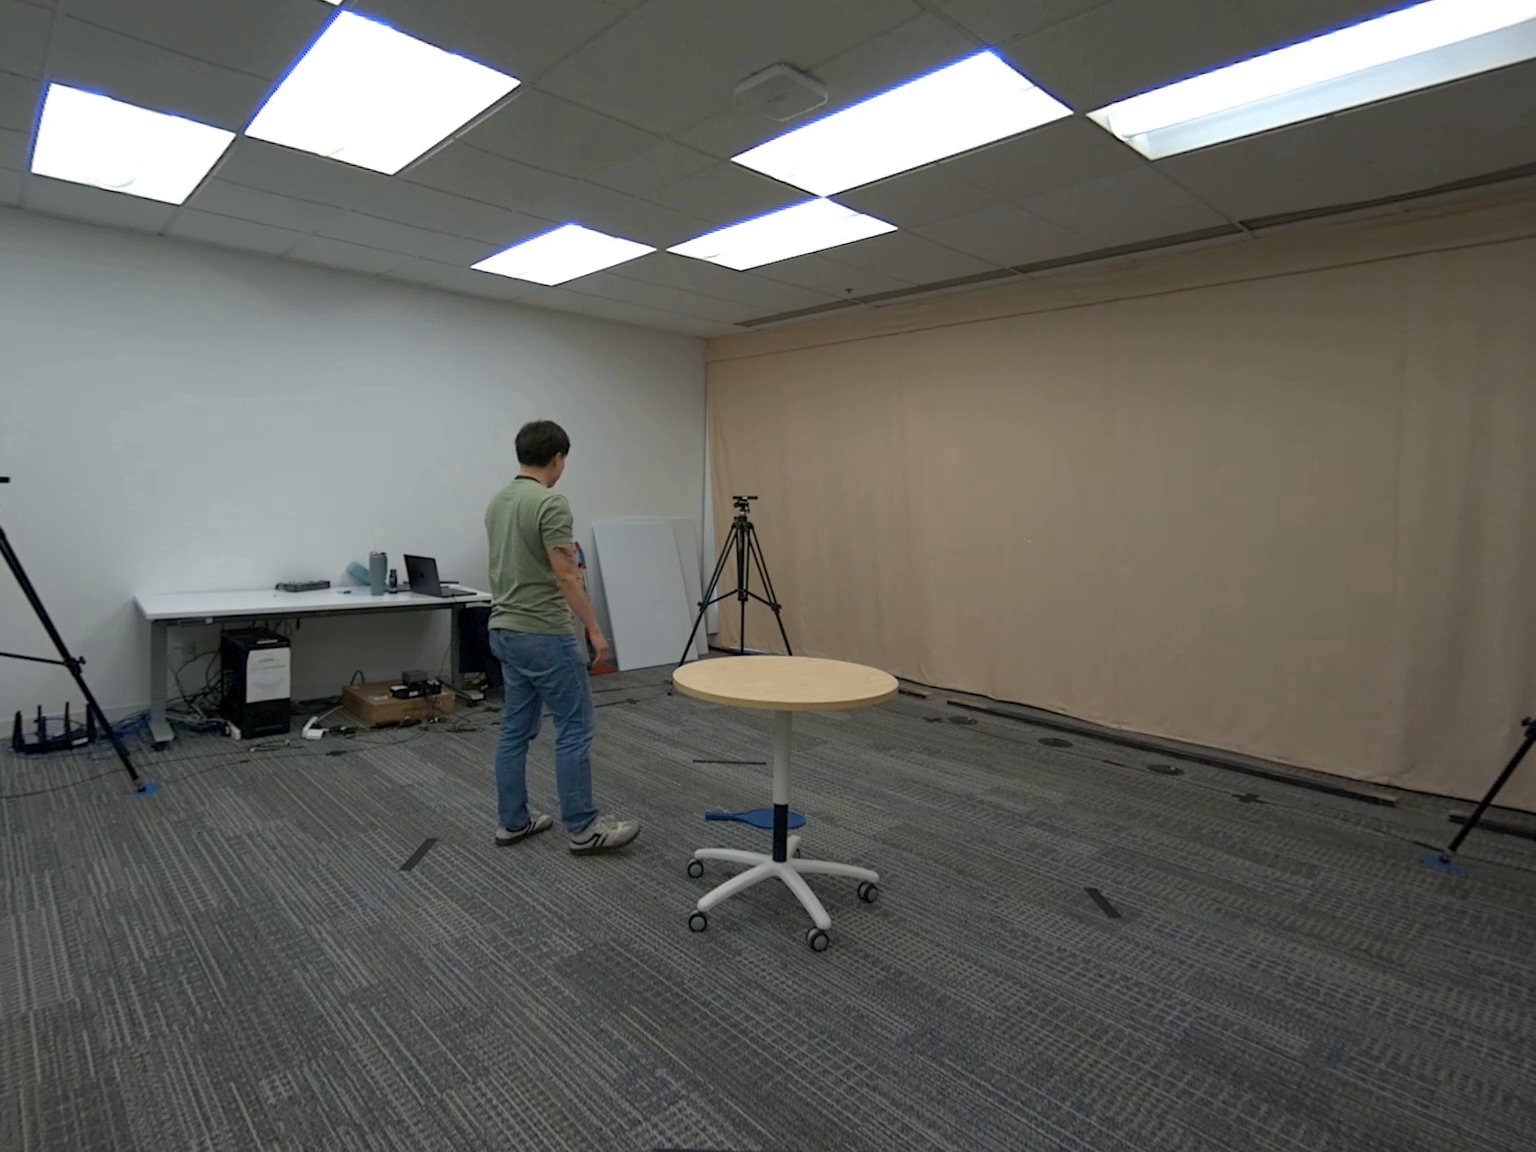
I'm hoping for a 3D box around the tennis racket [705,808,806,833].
[{"bbox_3d":[-0.065,1.044,3.646,0.433,0.032,0.214,3,4,0],"label":"tennis racket"}]
